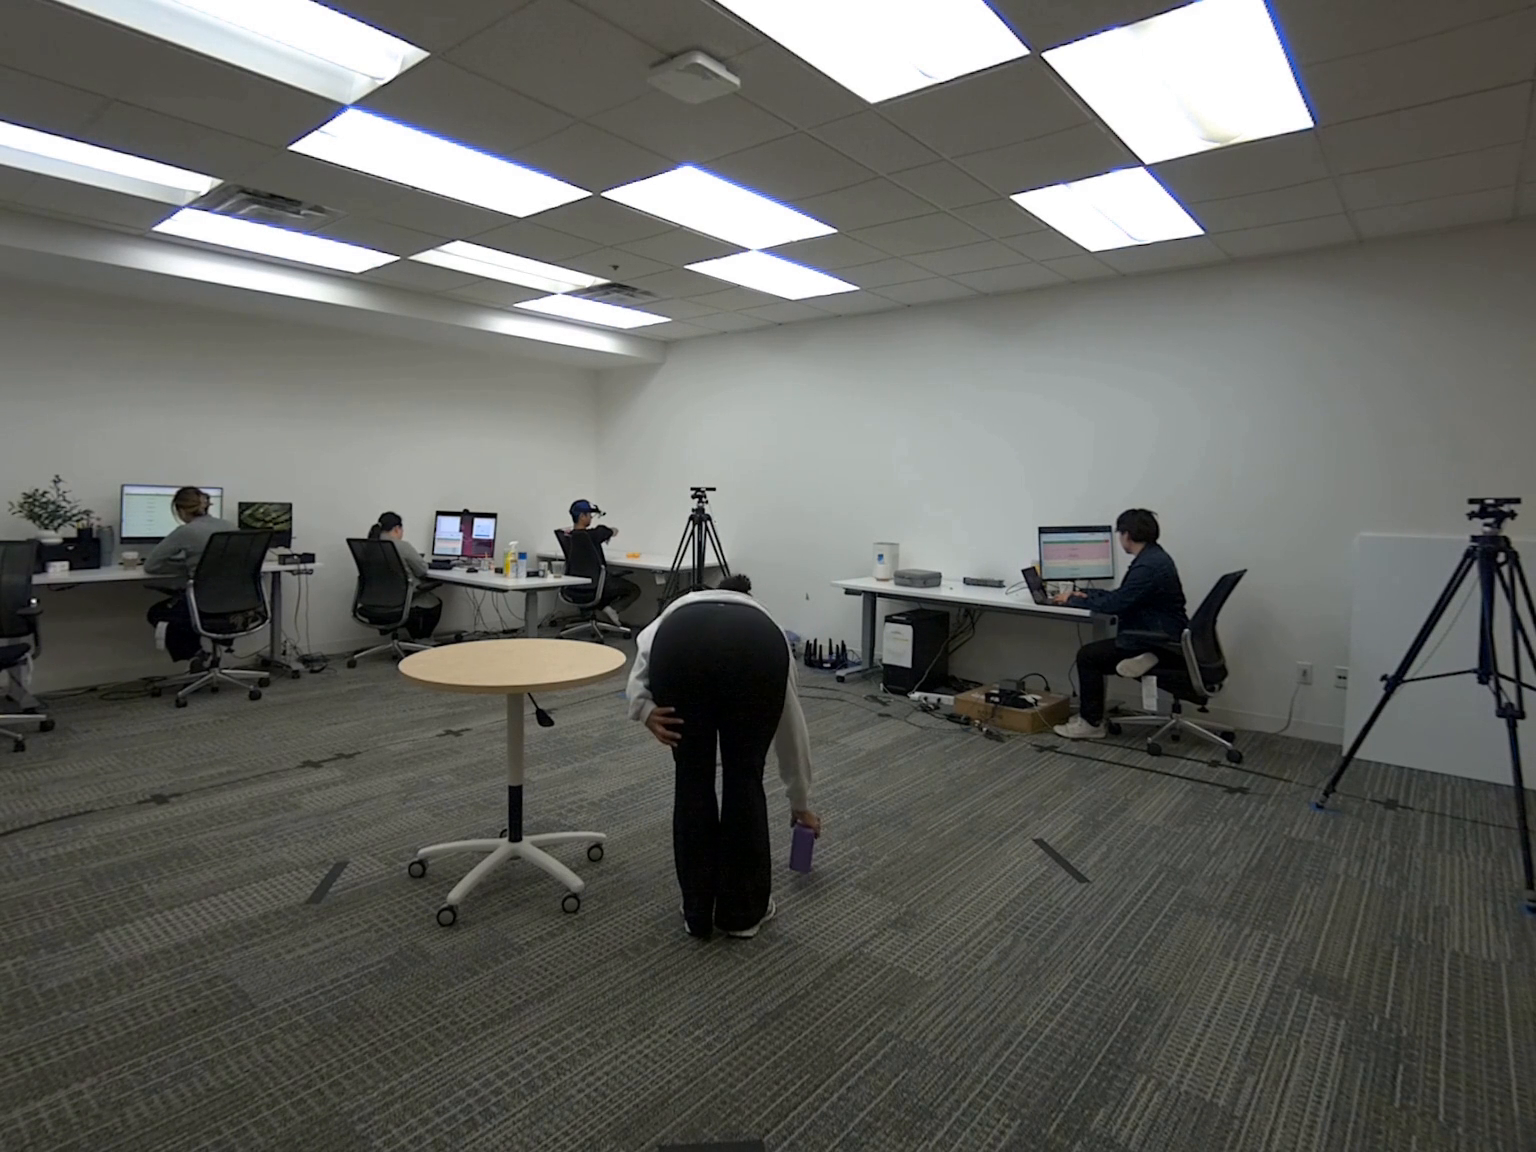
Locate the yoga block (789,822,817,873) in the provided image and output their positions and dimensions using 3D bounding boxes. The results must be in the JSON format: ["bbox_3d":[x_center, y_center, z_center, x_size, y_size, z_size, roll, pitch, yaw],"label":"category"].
[{"bbox_3d":[0.124,0.937,3.064,0.077,0.149,0.227,7,2,6],"label":"yoga block"}]
